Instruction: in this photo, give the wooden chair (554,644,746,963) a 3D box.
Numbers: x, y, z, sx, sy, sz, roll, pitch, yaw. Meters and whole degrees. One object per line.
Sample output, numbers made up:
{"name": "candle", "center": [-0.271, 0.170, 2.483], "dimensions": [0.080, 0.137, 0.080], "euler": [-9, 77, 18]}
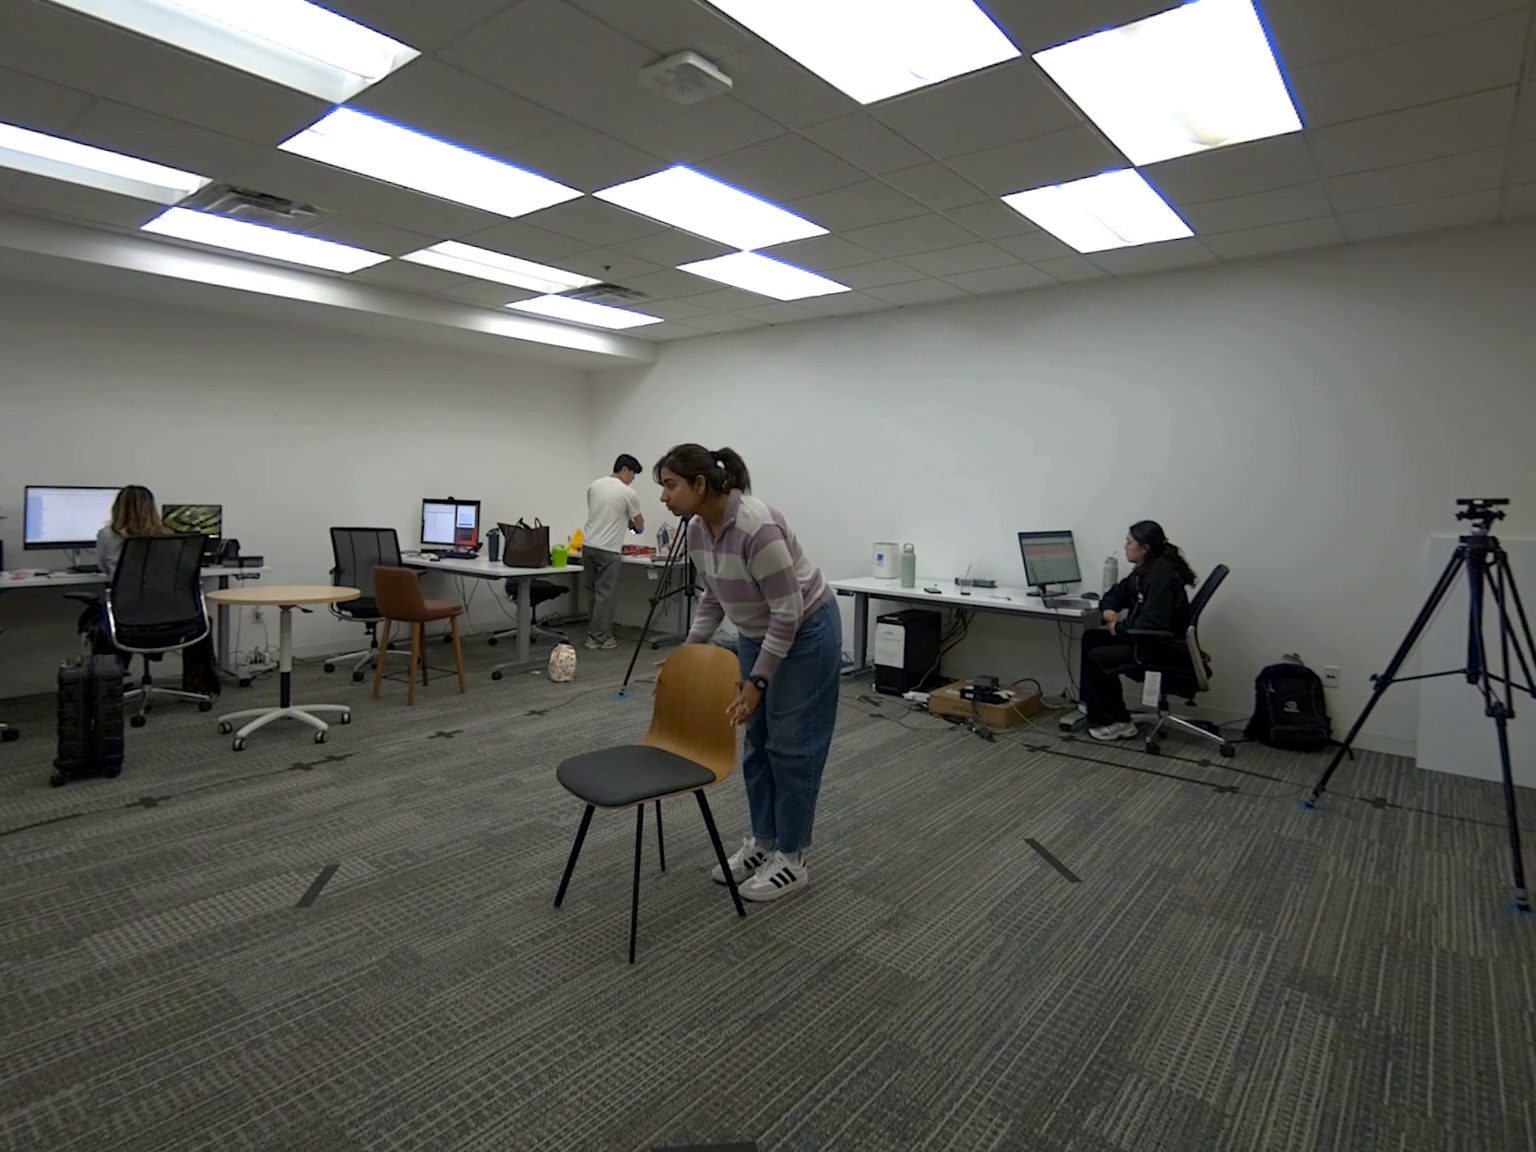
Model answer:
{"name": "wooden chair", "center": [-0.398, 0.673, 2.756], "dimensions": [0.506, 0.877, 0.494], "euler": [3, 1, -43]}
